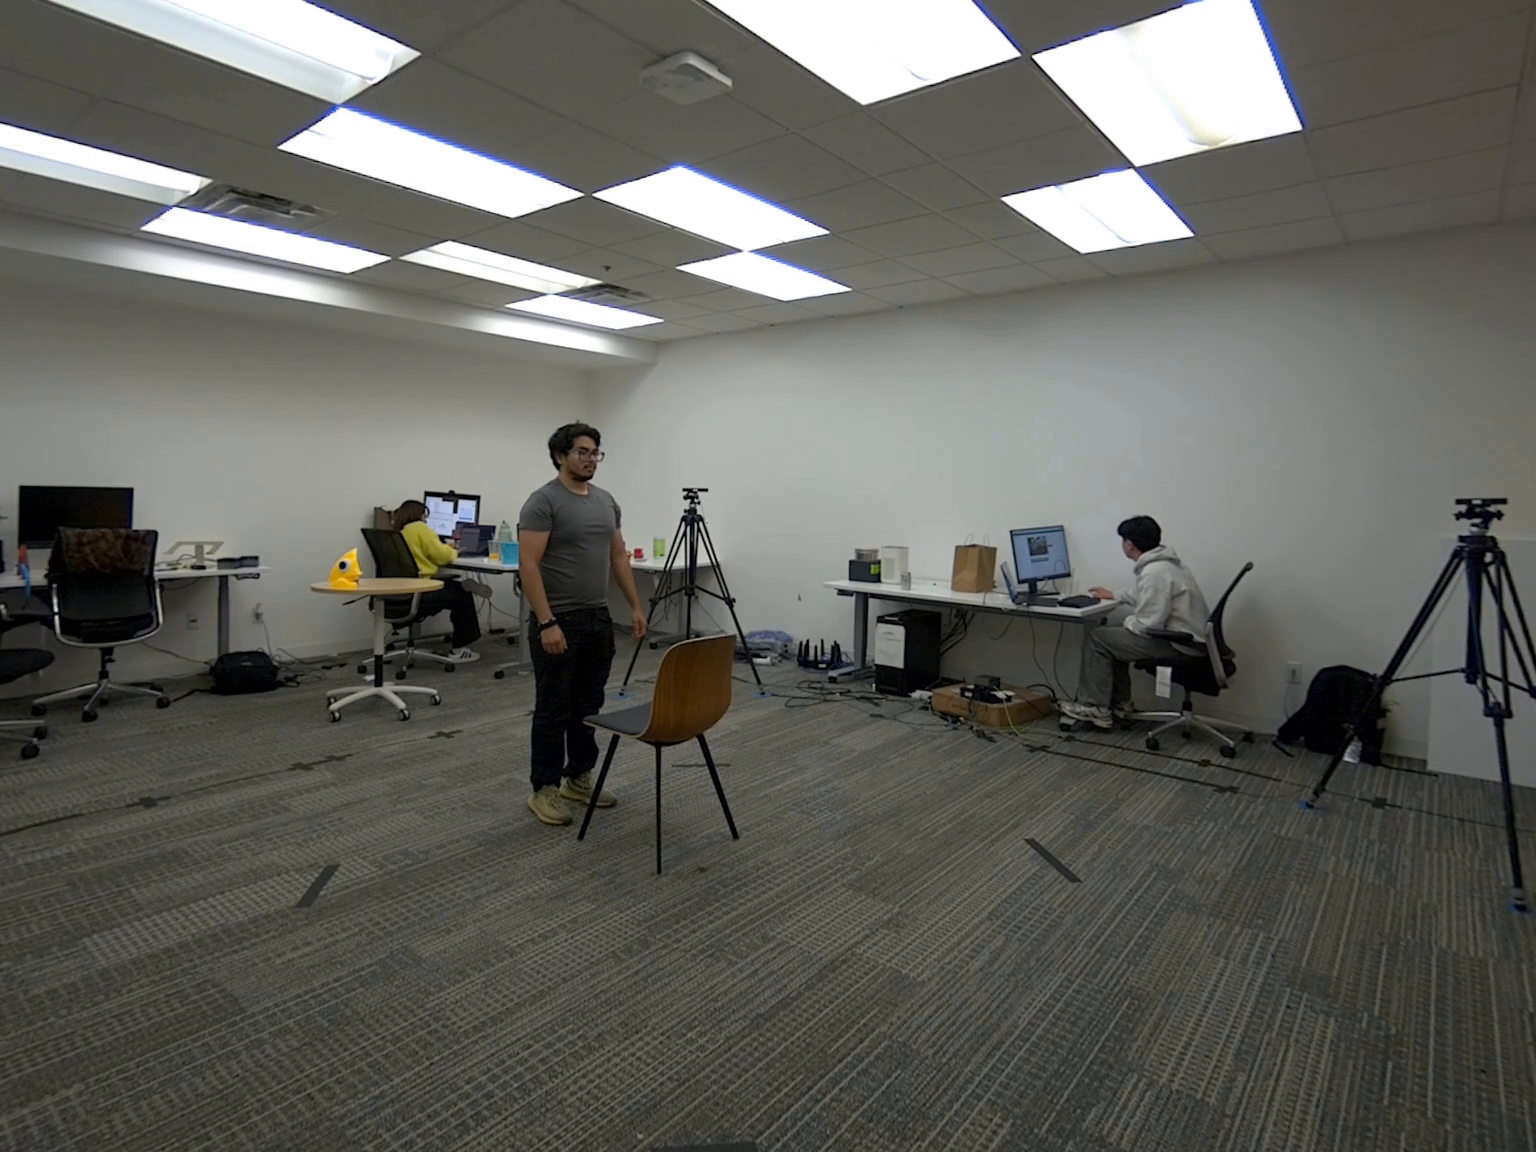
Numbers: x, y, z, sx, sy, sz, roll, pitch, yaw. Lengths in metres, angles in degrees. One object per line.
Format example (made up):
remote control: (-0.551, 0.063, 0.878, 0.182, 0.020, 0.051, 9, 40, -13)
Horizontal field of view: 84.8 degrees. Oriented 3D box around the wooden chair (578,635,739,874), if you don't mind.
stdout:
wooden chair: (-0.440, 0.617, 3.350, 0.542, 0.873, 0.464, 9, 7, 39)
